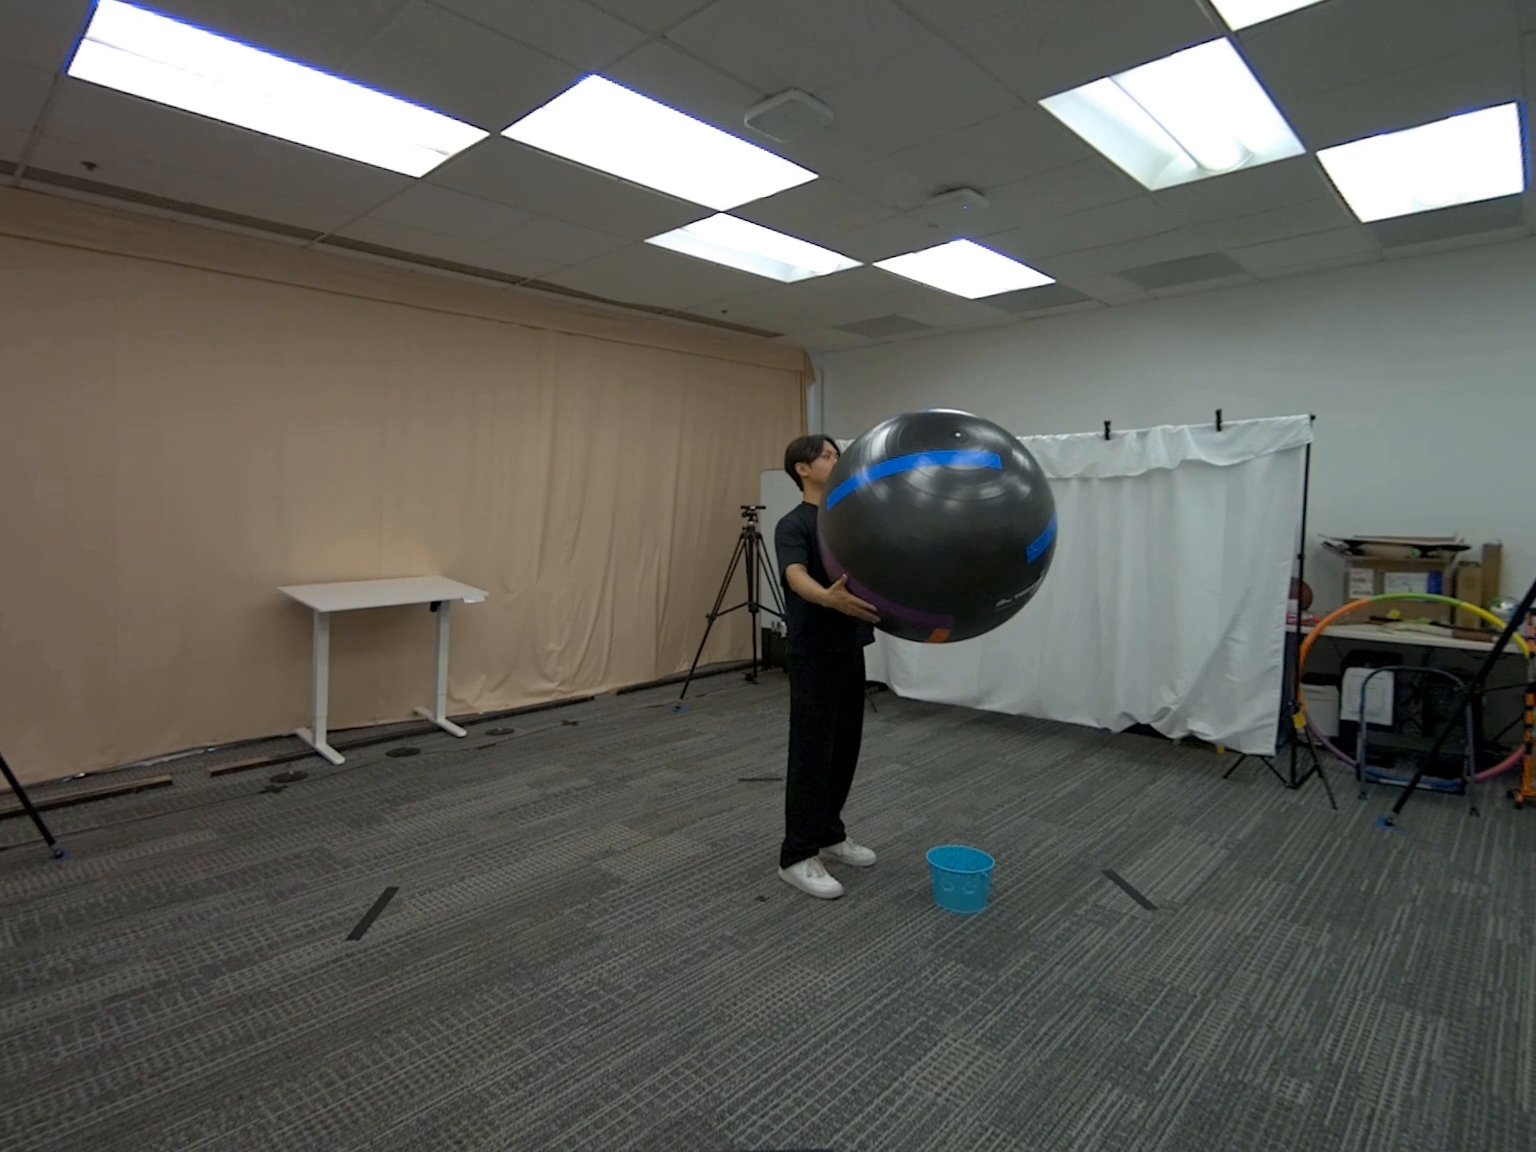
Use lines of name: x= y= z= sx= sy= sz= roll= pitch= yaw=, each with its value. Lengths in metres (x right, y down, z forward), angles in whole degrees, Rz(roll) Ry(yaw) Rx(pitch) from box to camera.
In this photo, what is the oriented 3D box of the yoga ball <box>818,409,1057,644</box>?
yoga ball: x=0.550 y=-0.150 z=2.750 sx=0.757 sy=0.756 sz=0.760 roll=0 pitch=4 yaw=-2
